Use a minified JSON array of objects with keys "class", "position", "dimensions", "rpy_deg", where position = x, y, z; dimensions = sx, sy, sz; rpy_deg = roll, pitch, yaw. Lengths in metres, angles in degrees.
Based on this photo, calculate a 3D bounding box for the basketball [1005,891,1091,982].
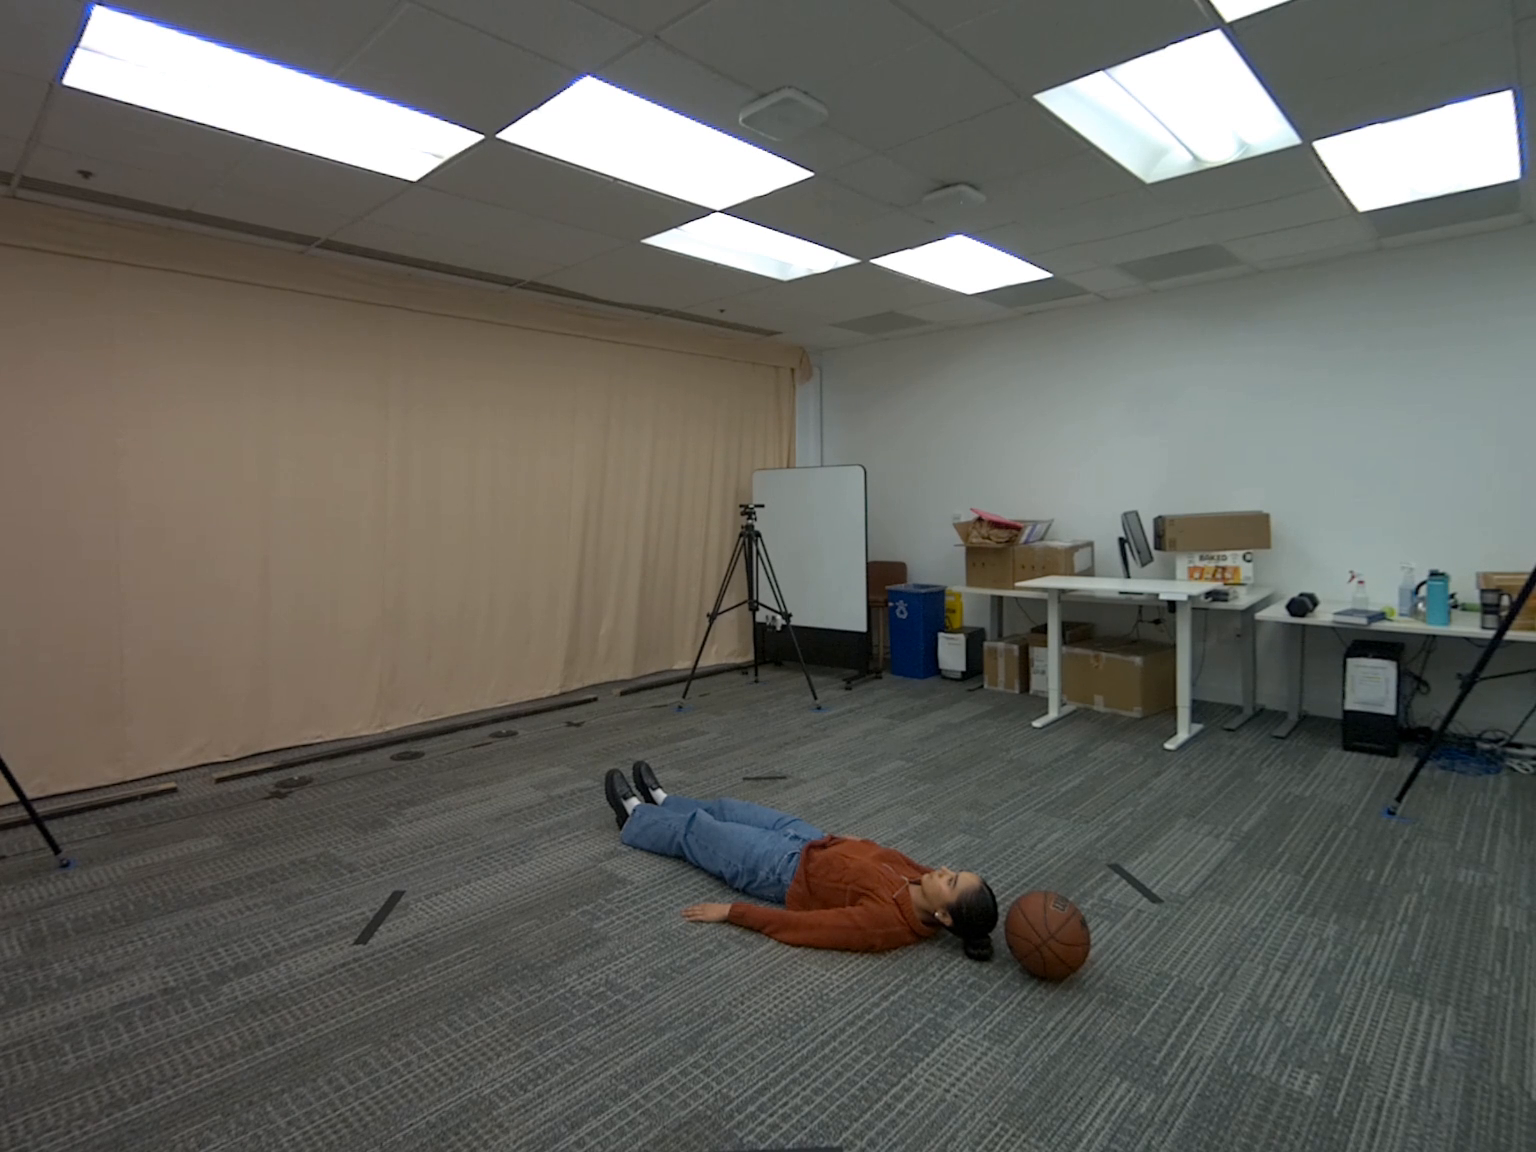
[{"class":"basketball","position":[0.818,1.049,2.470],"dimensions":[0.235,0.235,0.237],"rpy_deg":[2,5,-2]}]
